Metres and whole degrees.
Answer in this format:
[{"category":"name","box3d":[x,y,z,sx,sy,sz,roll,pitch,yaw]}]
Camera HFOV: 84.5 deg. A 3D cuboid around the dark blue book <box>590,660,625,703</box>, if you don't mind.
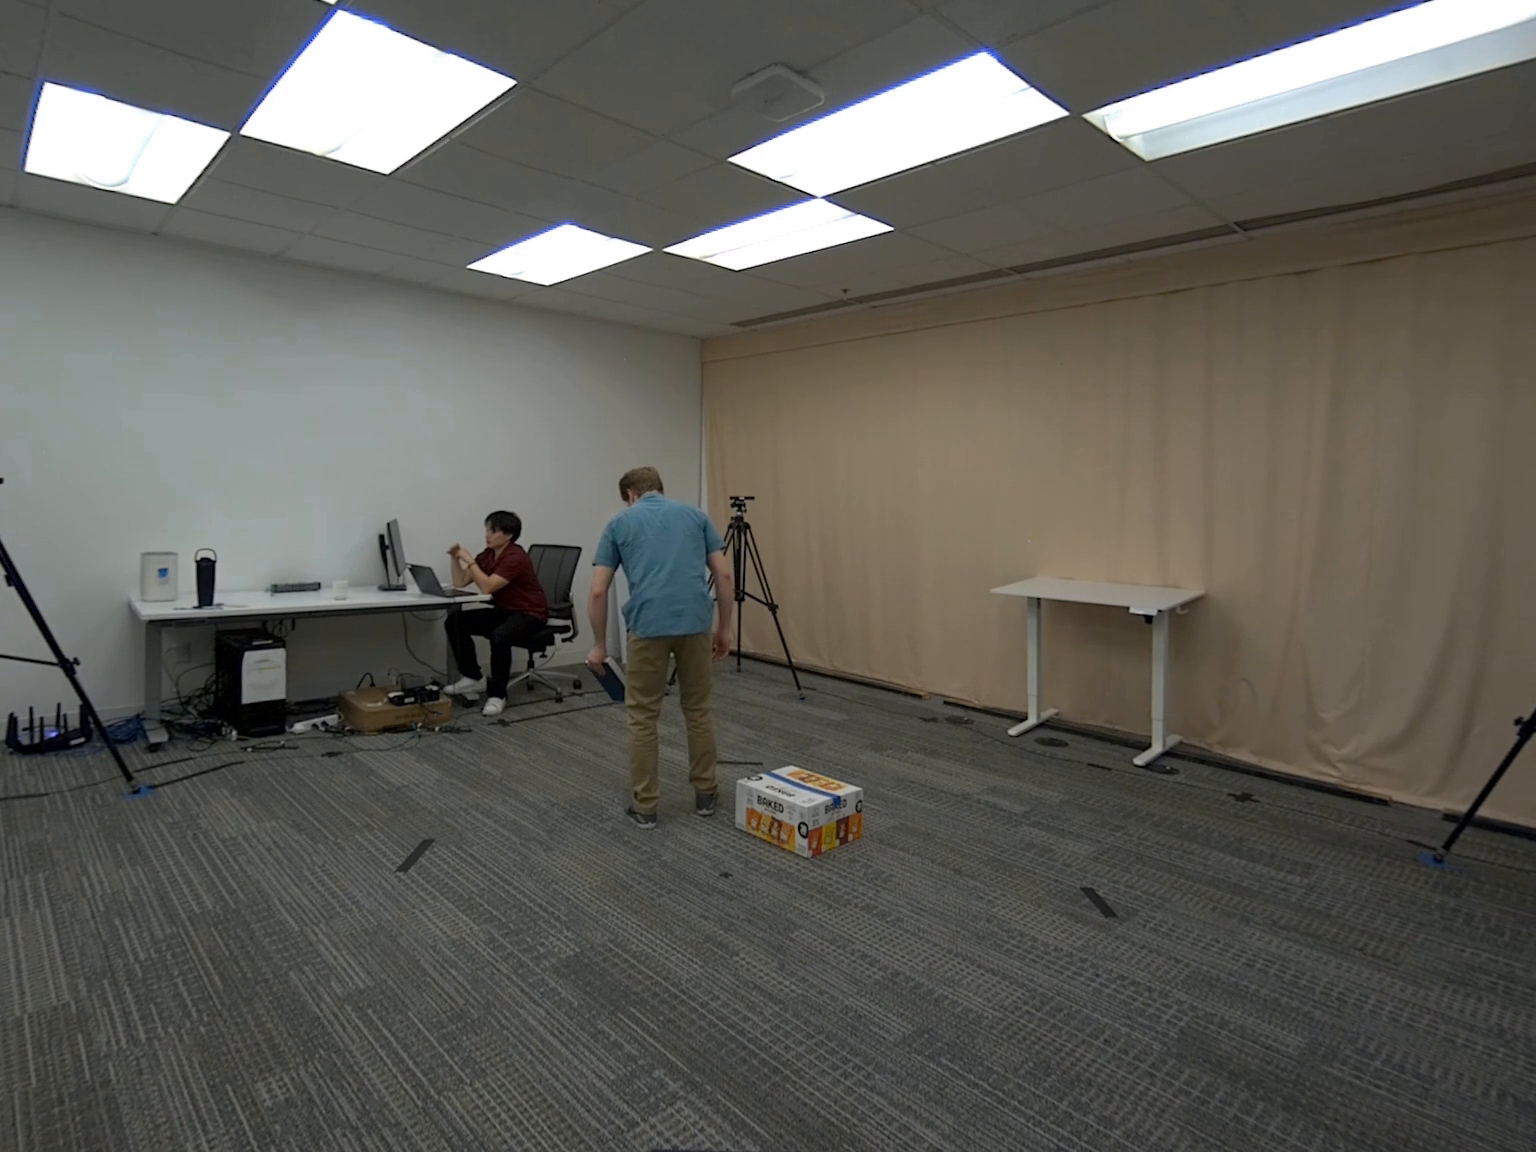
[{"category":"dark blue book","box3d":[-0.701,0.469,3.816,0.167,0.239,0.045,-7,33,42]}]
